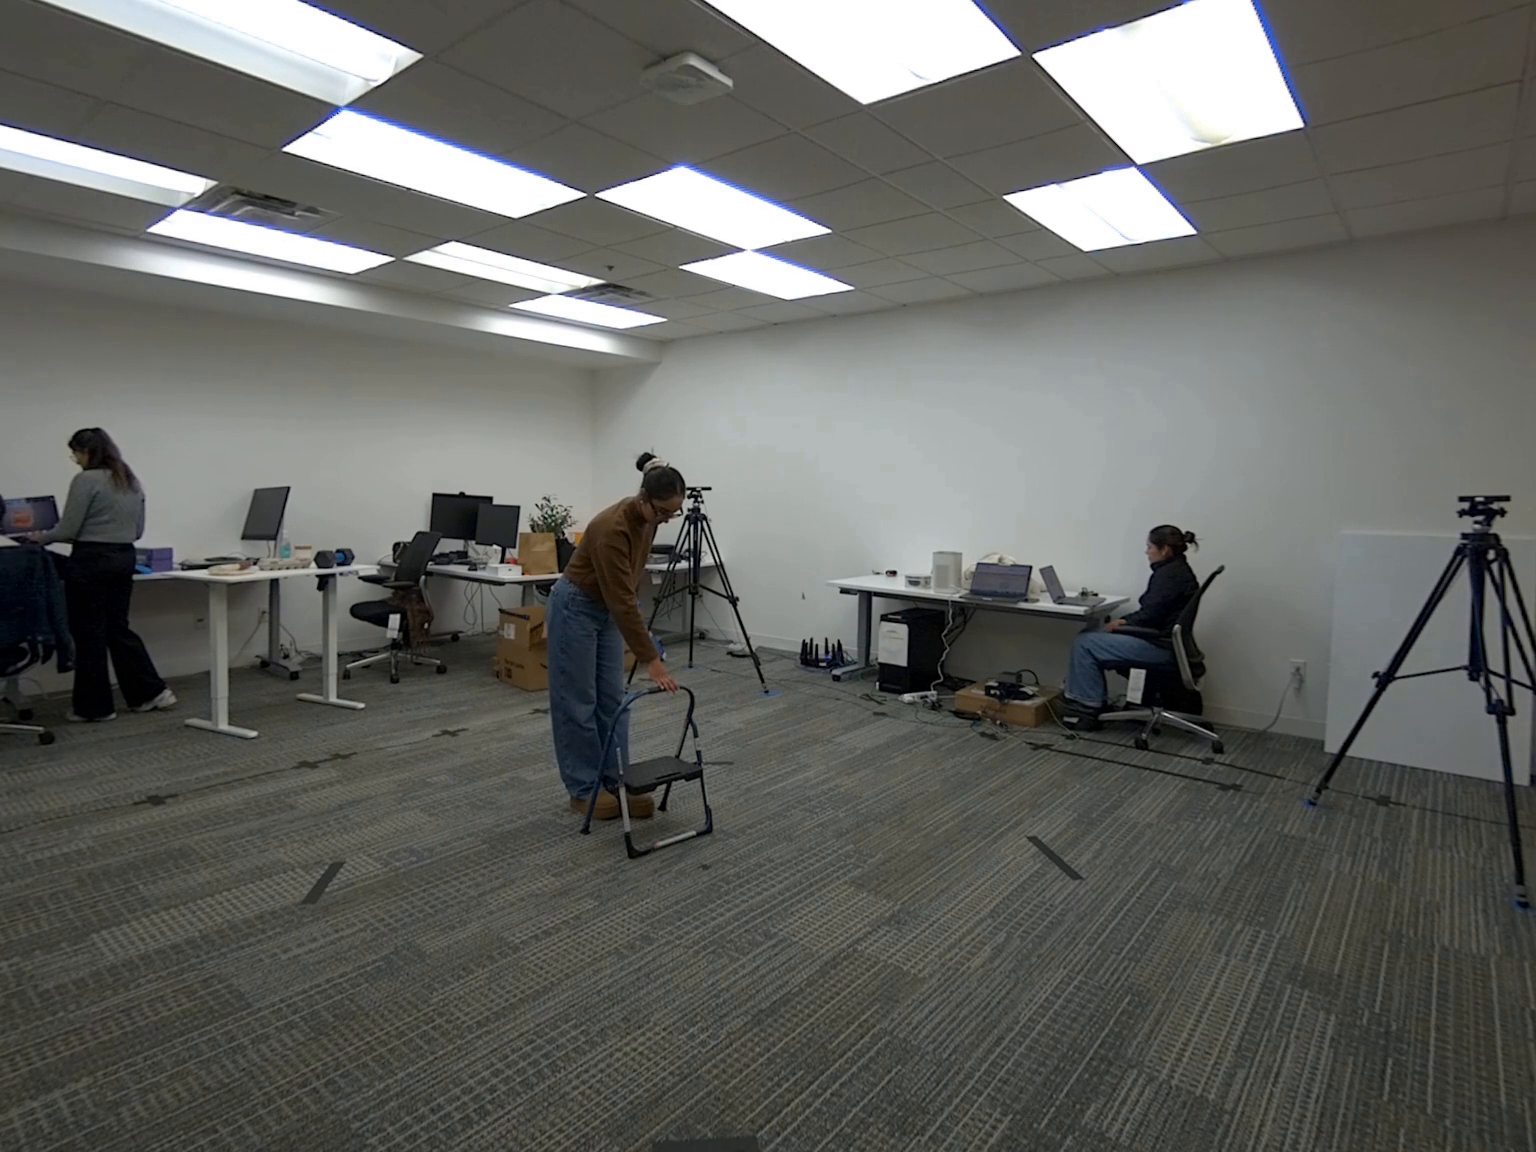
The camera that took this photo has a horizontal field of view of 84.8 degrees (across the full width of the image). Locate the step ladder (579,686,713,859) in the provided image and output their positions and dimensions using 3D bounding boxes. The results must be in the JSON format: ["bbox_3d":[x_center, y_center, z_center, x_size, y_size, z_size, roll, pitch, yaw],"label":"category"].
[{"bbox_3d":[-0.491,0.728,3.416,0.417,0.604,0.361,-2,5,-44],"label":"step ladder"}]
